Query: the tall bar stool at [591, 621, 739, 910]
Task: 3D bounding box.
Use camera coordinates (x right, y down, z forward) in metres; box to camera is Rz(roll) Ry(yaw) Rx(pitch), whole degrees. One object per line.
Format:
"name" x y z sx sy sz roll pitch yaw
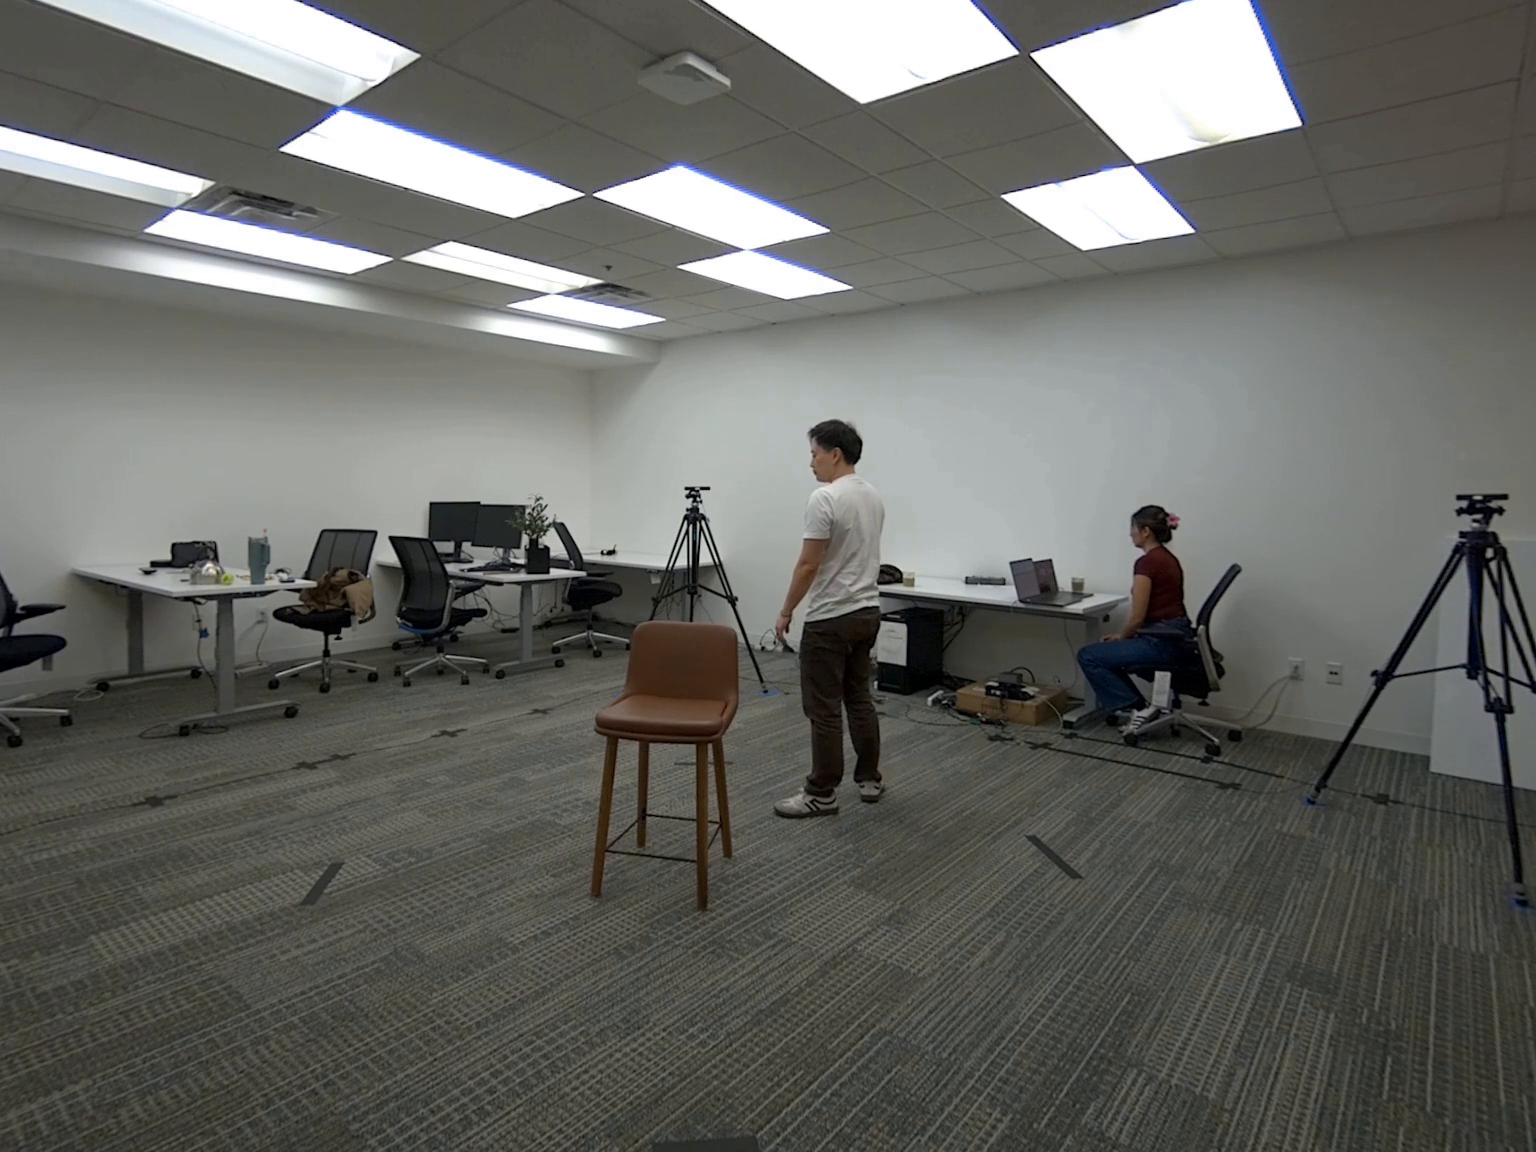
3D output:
"tall bar stool" -0.363 0.636 3.036 0.464 0.889 0.461 2 2 14
